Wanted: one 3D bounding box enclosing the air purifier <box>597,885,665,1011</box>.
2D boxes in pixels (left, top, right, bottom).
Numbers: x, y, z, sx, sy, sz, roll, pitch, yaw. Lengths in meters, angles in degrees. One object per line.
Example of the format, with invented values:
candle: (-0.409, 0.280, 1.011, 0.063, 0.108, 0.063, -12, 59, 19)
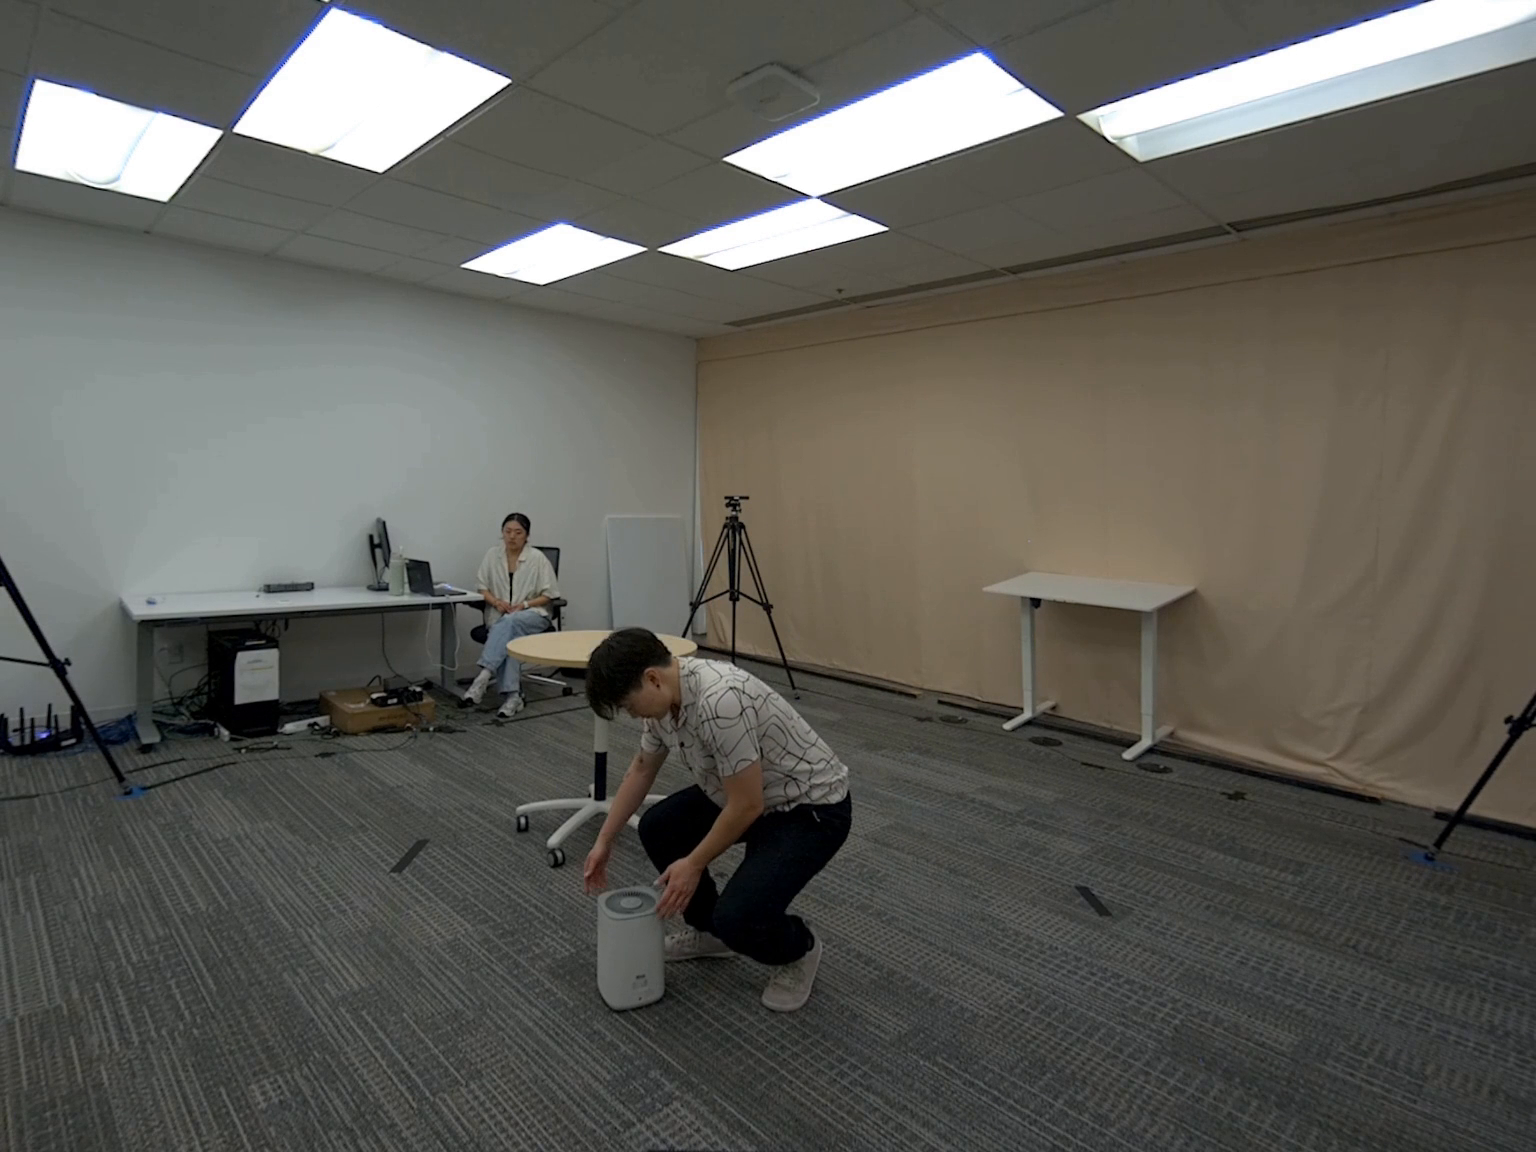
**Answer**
air purifier: (-0.384, 1.037, 2.338, 0.168, 0.264, 0.175, -3, 6, -29)
